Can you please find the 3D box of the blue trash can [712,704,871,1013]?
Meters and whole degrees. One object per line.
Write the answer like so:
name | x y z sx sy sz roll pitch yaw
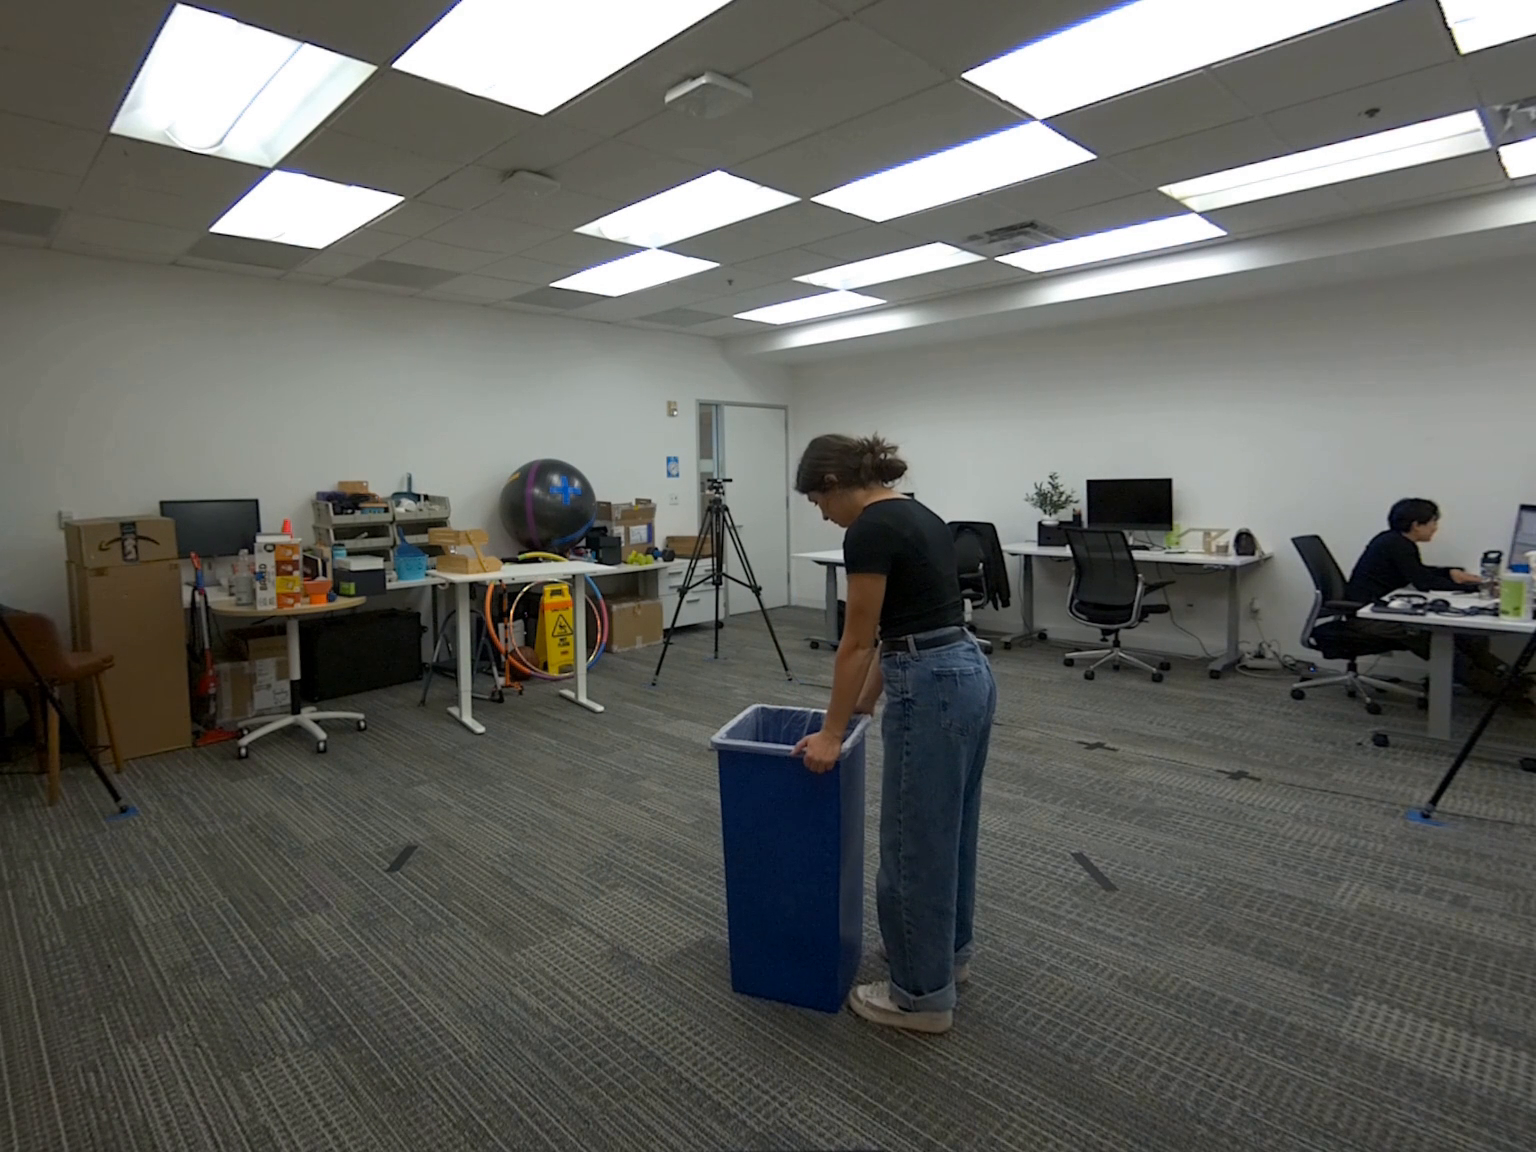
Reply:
blue trash can | 0.085 0.770 2.388 0.385 0.711 0.368 1 4 20
